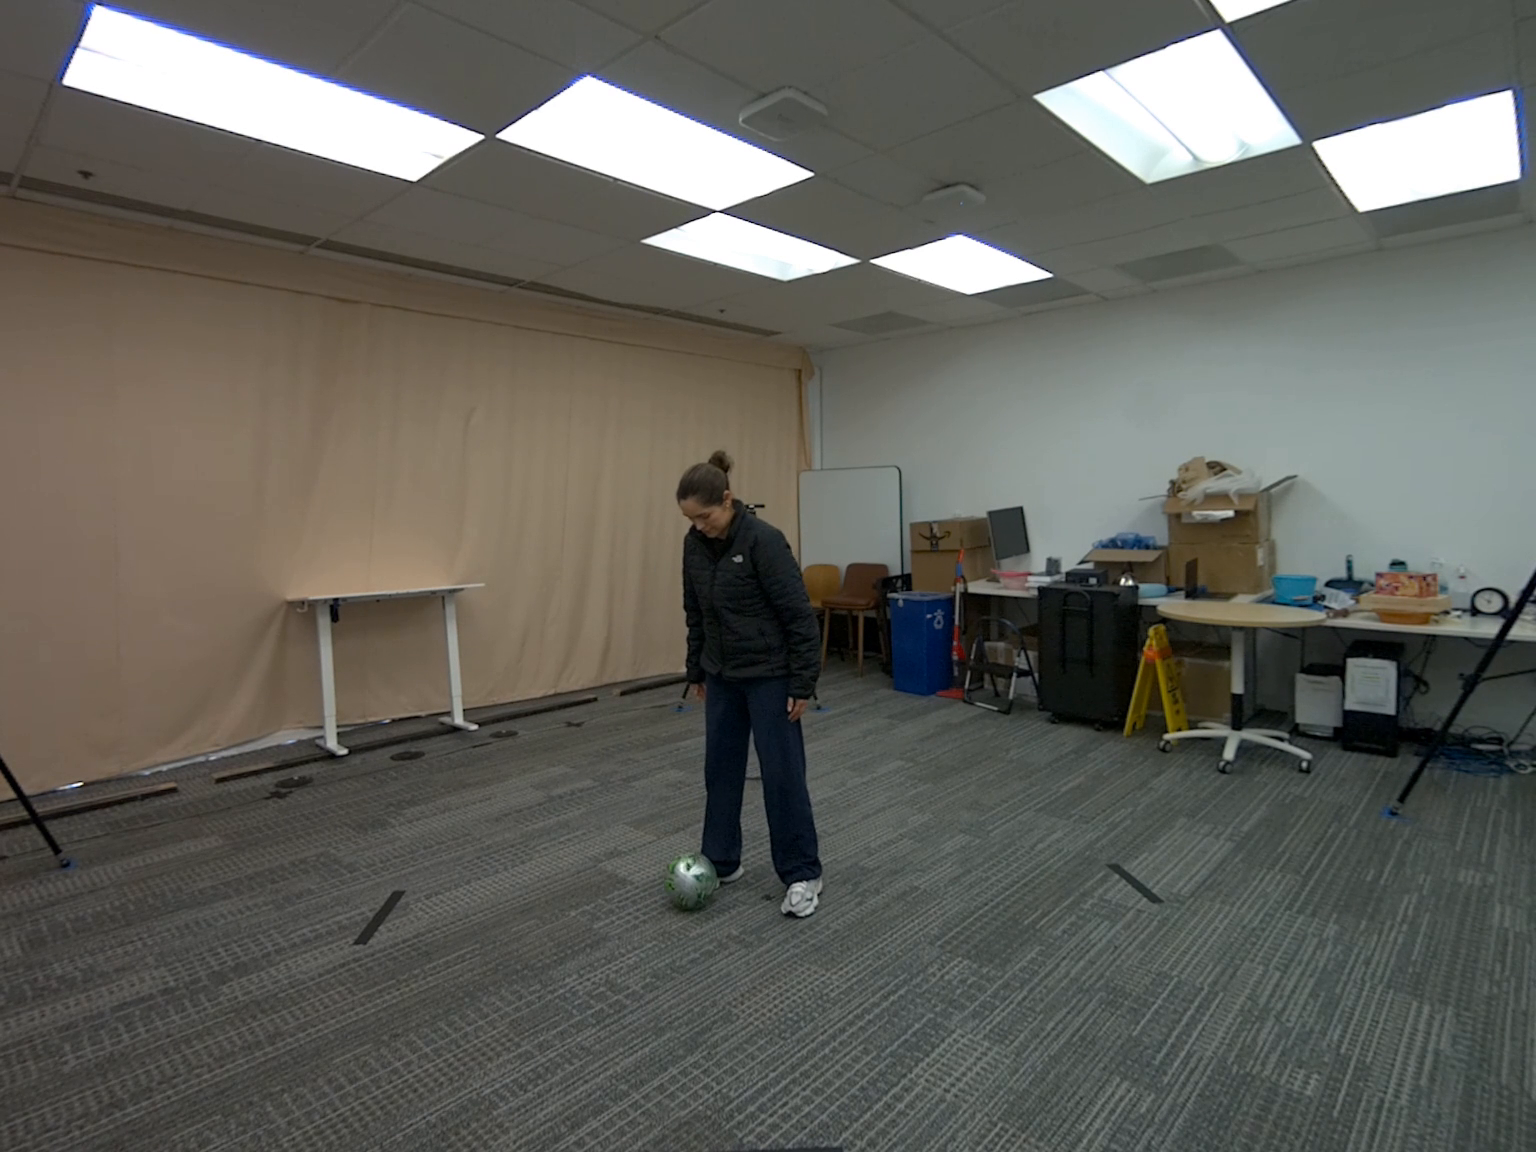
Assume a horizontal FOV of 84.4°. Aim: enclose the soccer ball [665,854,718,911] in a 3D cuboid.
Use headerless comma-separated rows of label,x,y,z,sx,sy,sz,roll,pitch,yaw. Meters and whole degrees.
soccer ball,-0.263,1.051,2.914,0.187,0.187,0.188,-1,4,-2
